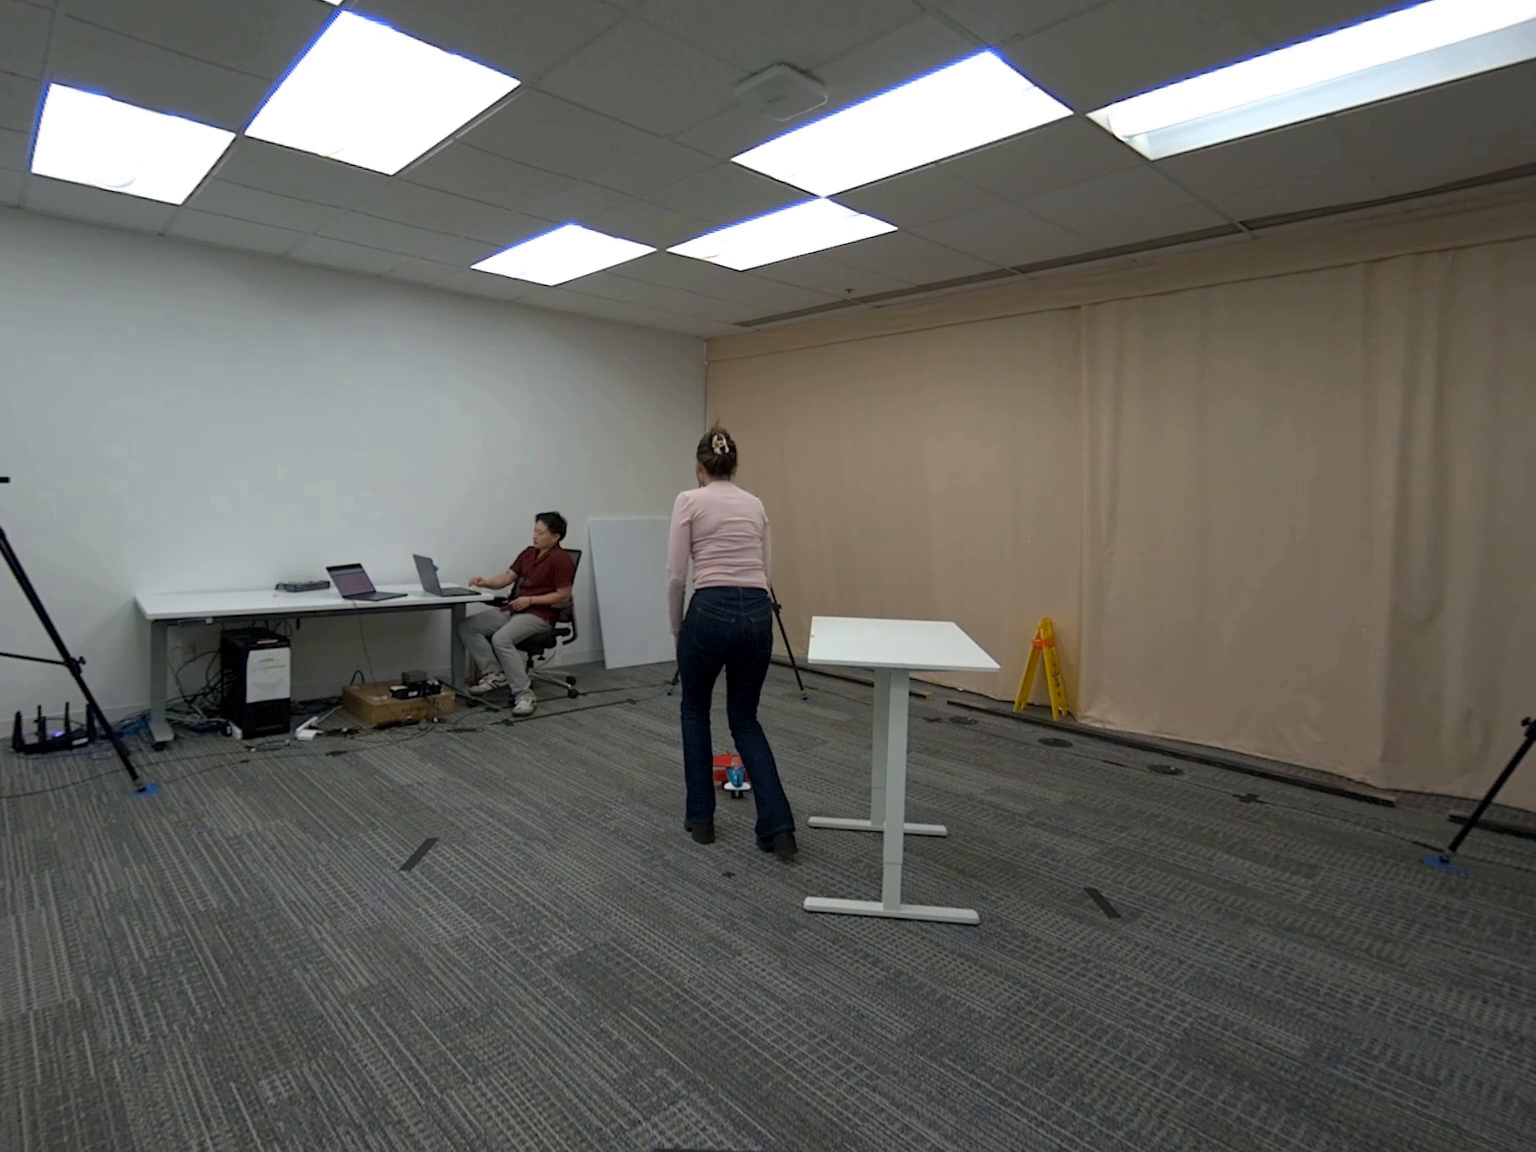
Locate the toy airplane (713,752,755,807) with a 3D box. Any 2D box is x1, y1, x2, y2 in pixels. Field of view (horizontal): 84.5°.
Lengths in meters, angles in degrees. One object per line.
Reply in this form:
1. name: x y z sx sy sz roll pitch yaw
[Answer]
1. toy airplane: -0.147 0.956 4.010 0.245 0.156 0.265 1 4 -33
